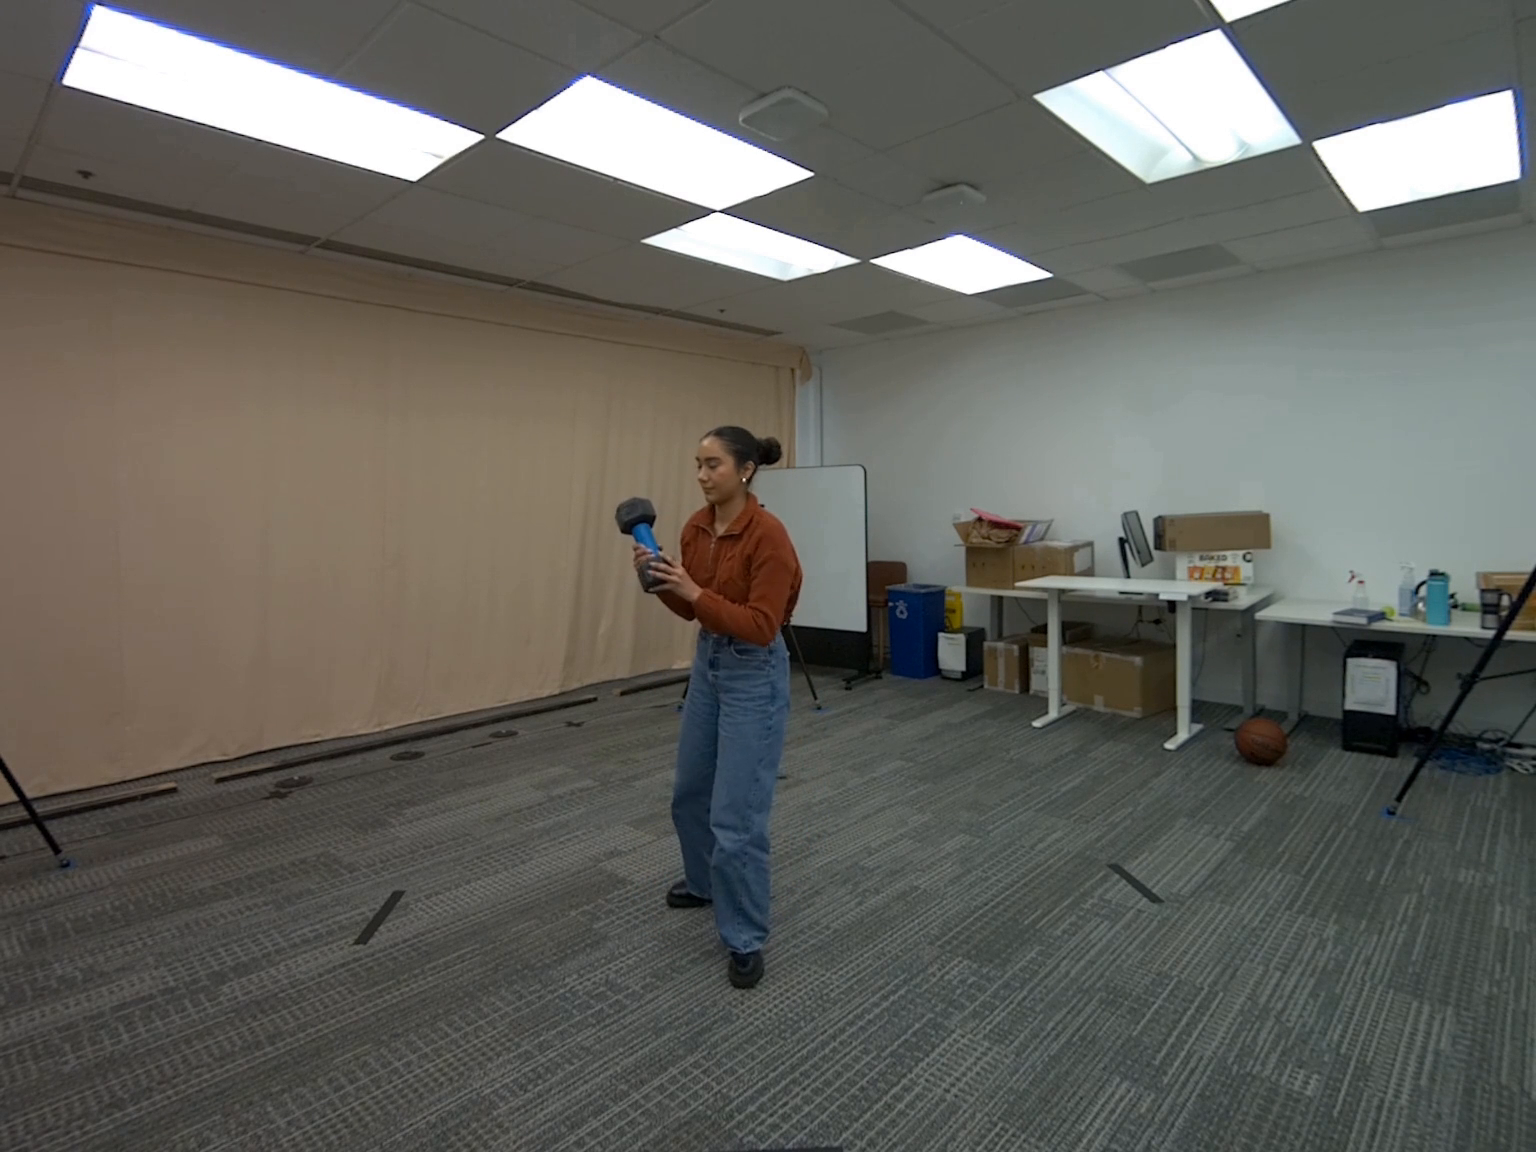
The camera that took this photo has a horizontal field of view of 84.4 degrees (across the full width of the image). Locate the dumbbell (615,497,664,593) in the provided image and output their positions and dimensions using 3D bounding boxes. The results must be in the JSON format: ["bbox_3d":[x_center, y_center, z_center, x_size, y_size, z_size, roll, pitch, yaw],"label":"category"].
[{"bbox_3d":[-0.358,-0.085,2.540,0.110,0.300,0.119,-38,-27,30],"label":"dumbbell"}]
